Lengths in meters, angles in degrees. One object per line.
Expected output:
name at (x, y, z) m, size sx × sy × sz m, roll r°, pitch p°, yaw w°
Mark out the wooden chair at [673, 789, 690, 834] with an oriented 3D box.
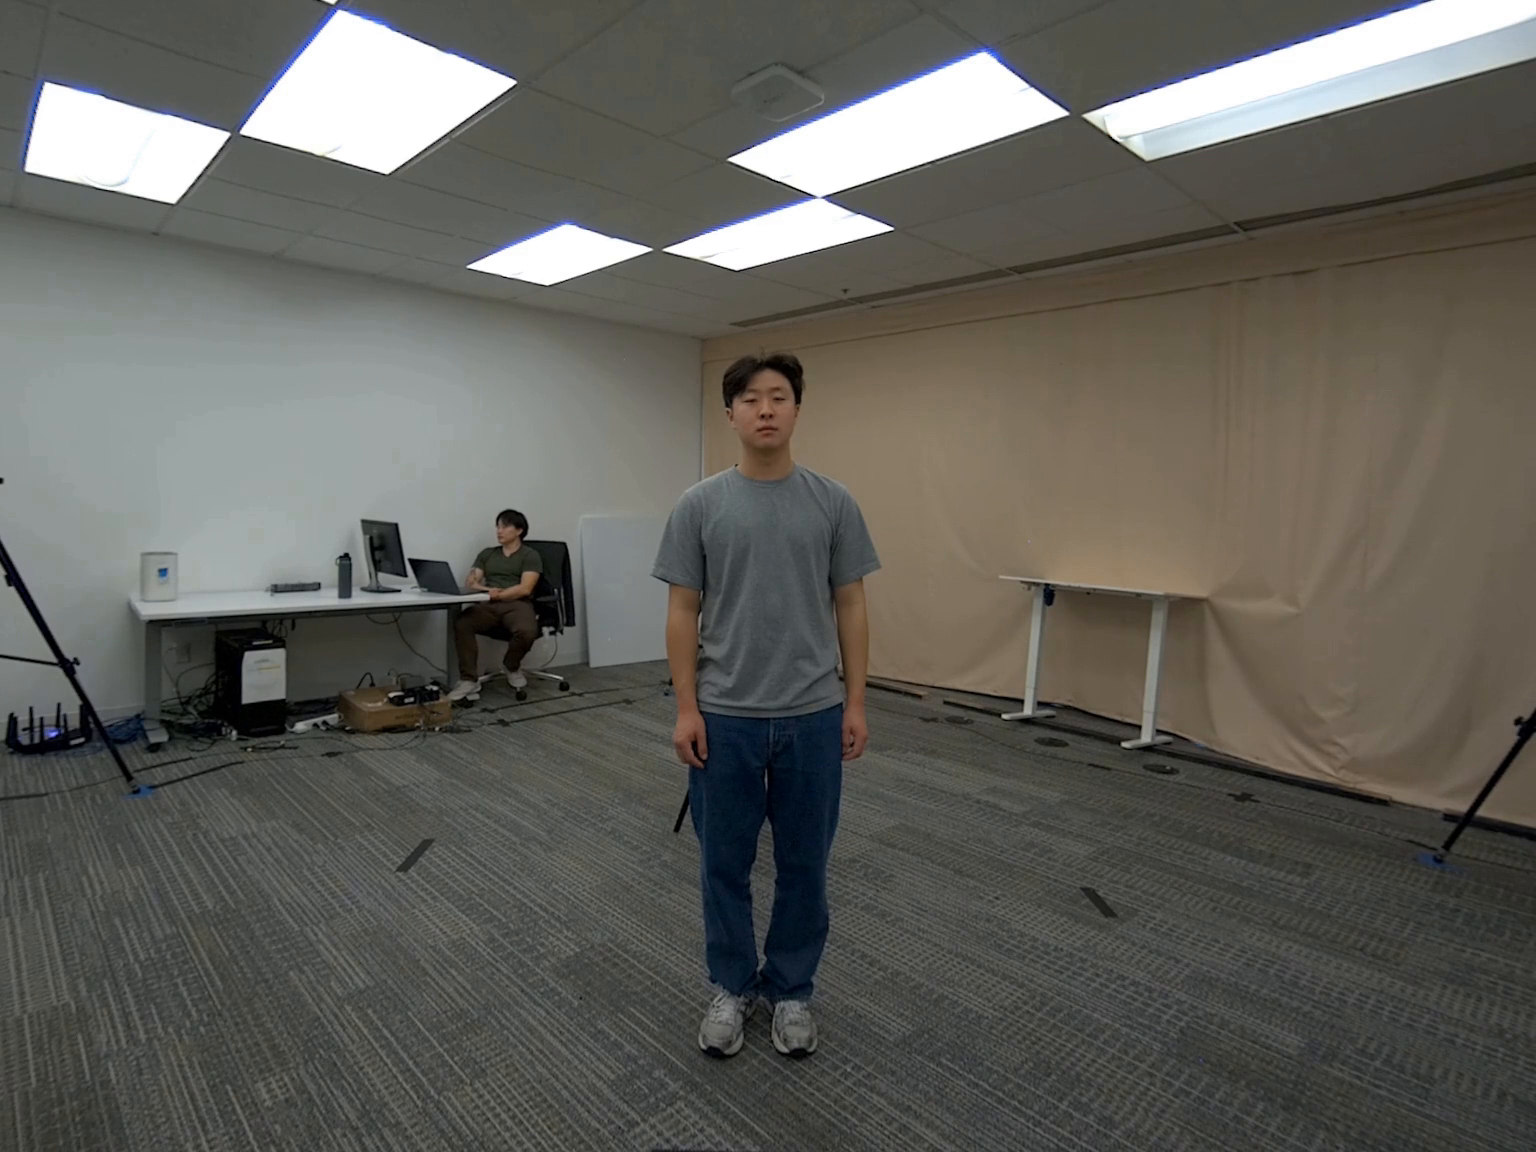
wooden chair at (-0.071, 0.655, 3.419) m, size 0.467 × 0.873 × 0.537 m, roll -1°, pitch 9°, yaw -37°
